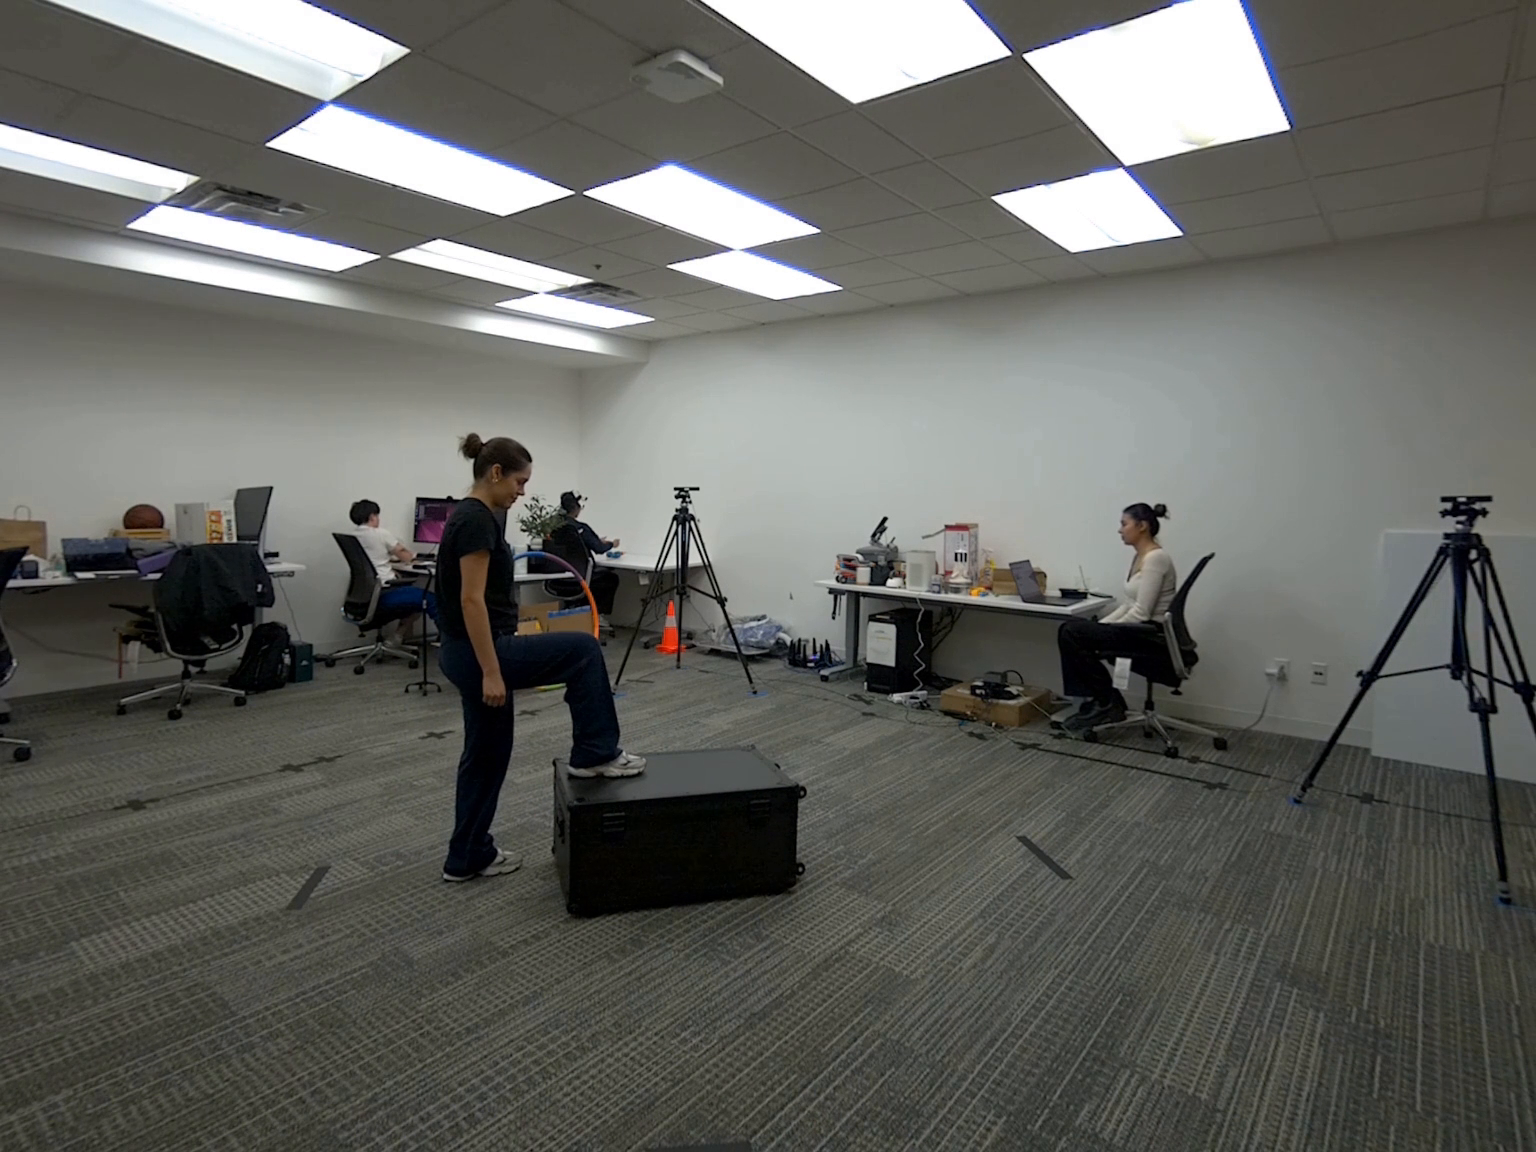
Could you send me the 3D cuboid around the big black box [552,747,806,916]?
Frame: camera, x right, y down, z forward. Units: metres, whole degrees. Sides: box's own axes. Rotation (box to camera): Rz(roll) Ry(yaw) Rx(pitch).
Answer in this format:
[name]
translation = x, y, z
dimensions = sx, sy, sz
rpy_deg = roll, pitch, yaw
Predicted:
[big black box]
translation = -0.303, 0.876, 3.056
dimensions = 0.846, 0.395, 0.533
rpy_deg = -1, 5, -18
